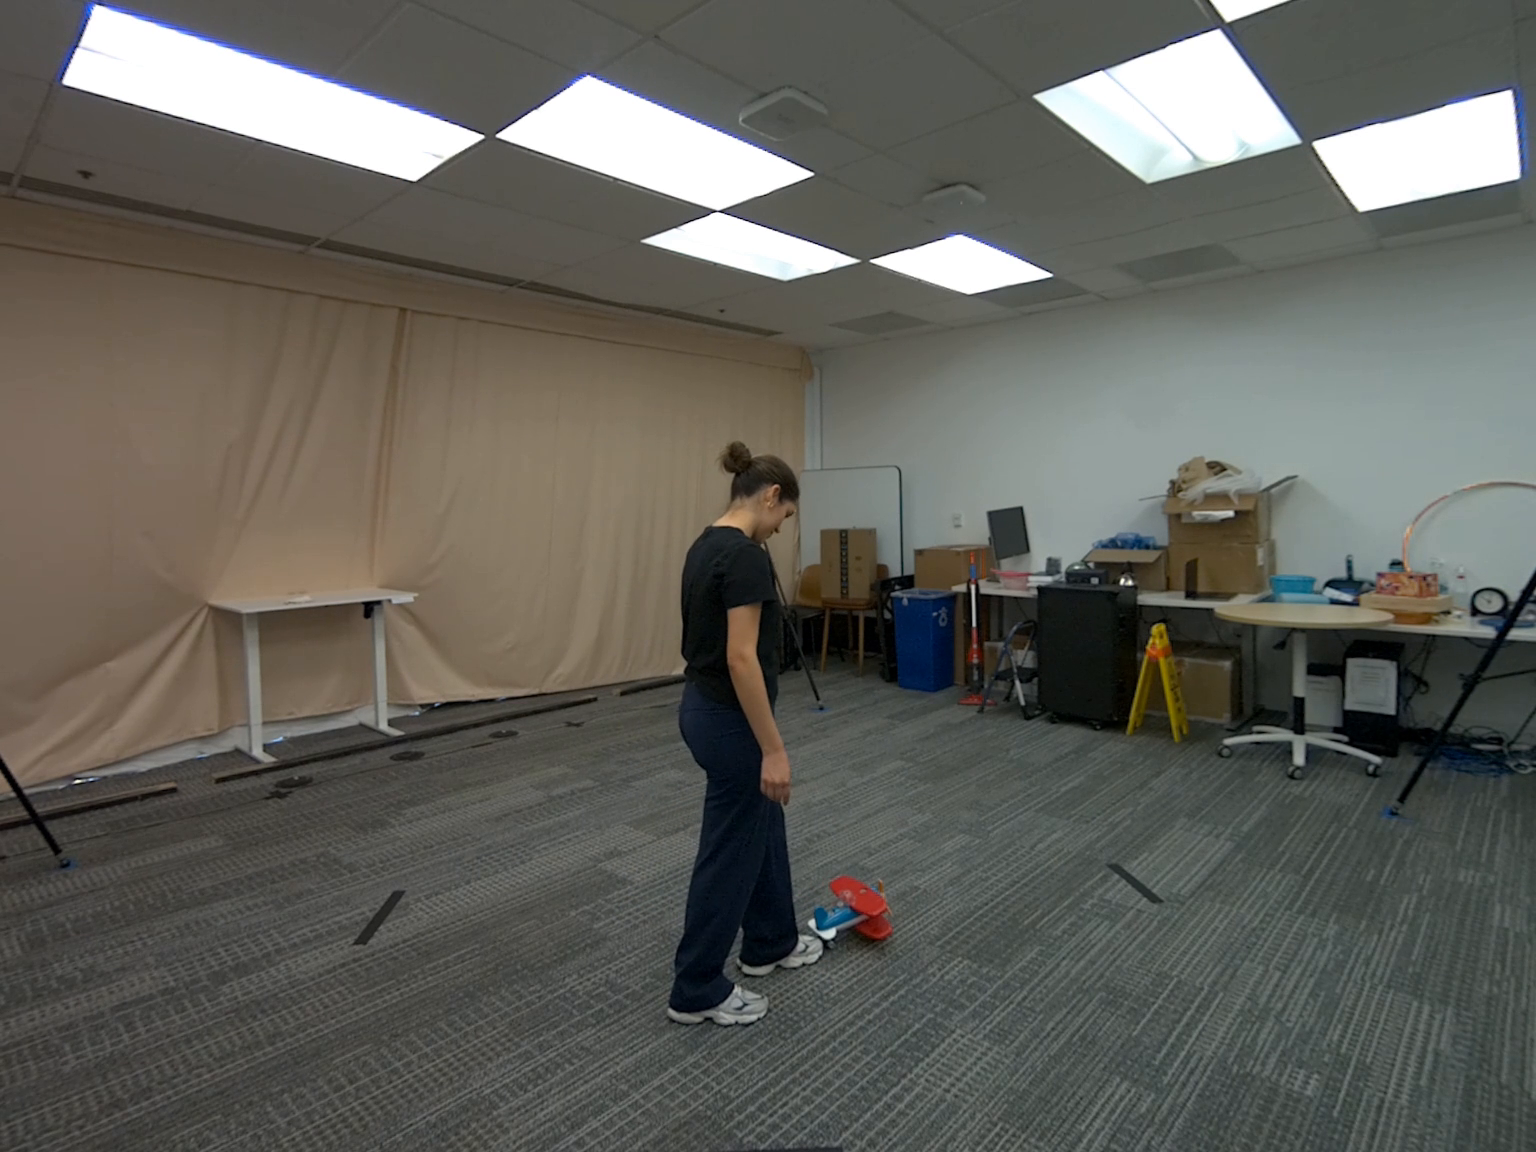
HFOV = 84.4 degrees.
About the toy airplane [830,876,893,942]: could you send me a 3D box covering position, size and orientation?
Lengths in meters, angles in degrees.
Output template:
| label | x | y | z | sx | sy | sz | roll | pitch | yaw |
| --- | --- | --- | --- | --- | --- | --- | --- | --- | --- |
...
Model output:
| label | x | y | z | sx | sy | sz | roll | pitch | yaw |
| --- | --- | --- | --- | --- | --- | --- | --- | --- | --- |
| toy airplane | 0.292 | 1.085 | 2.671 | 0.259 | 0.156 | 0.252 | 3 | 5 | 36 |
